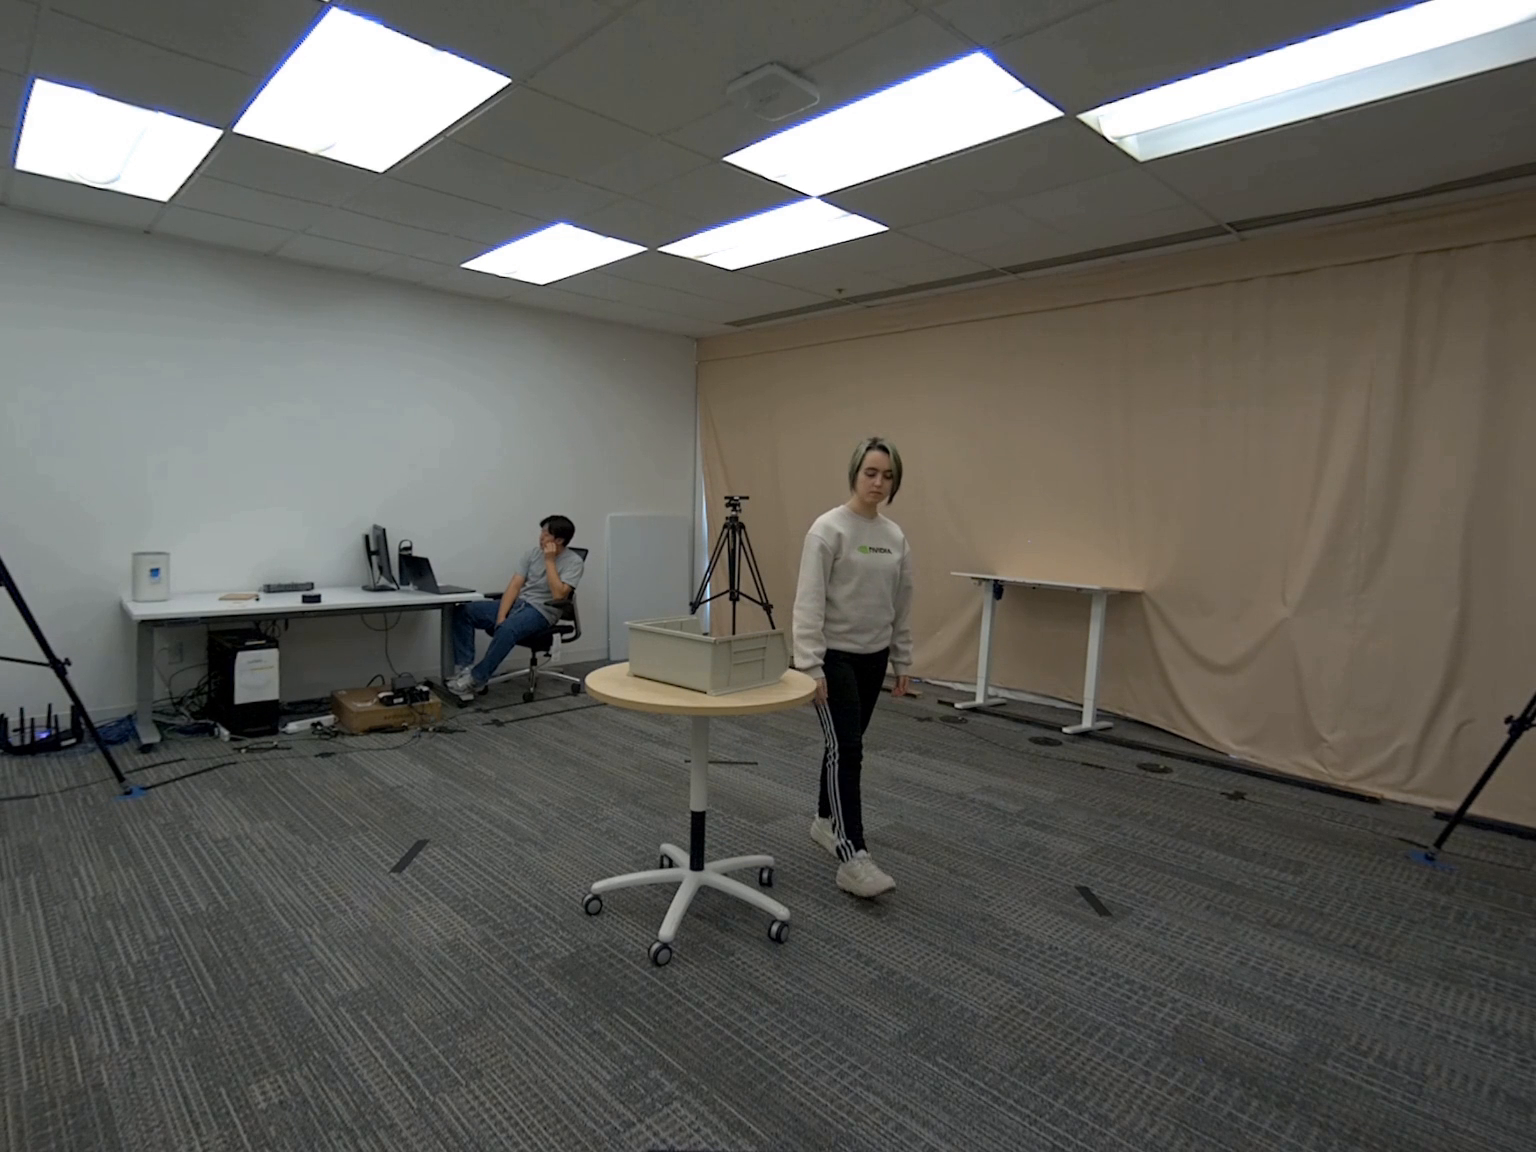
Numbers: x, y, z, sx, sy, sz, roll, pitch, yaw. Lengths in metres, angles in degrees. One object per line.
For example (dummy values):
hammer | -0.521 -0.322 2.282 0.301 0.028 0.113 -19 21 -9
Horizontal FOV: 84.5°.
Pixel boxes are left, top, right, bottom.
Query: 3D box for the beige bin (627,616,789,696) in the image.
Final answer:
beige bin | -0.207 0.256 2.814 0.433 0.188 0.369 6 8 41
